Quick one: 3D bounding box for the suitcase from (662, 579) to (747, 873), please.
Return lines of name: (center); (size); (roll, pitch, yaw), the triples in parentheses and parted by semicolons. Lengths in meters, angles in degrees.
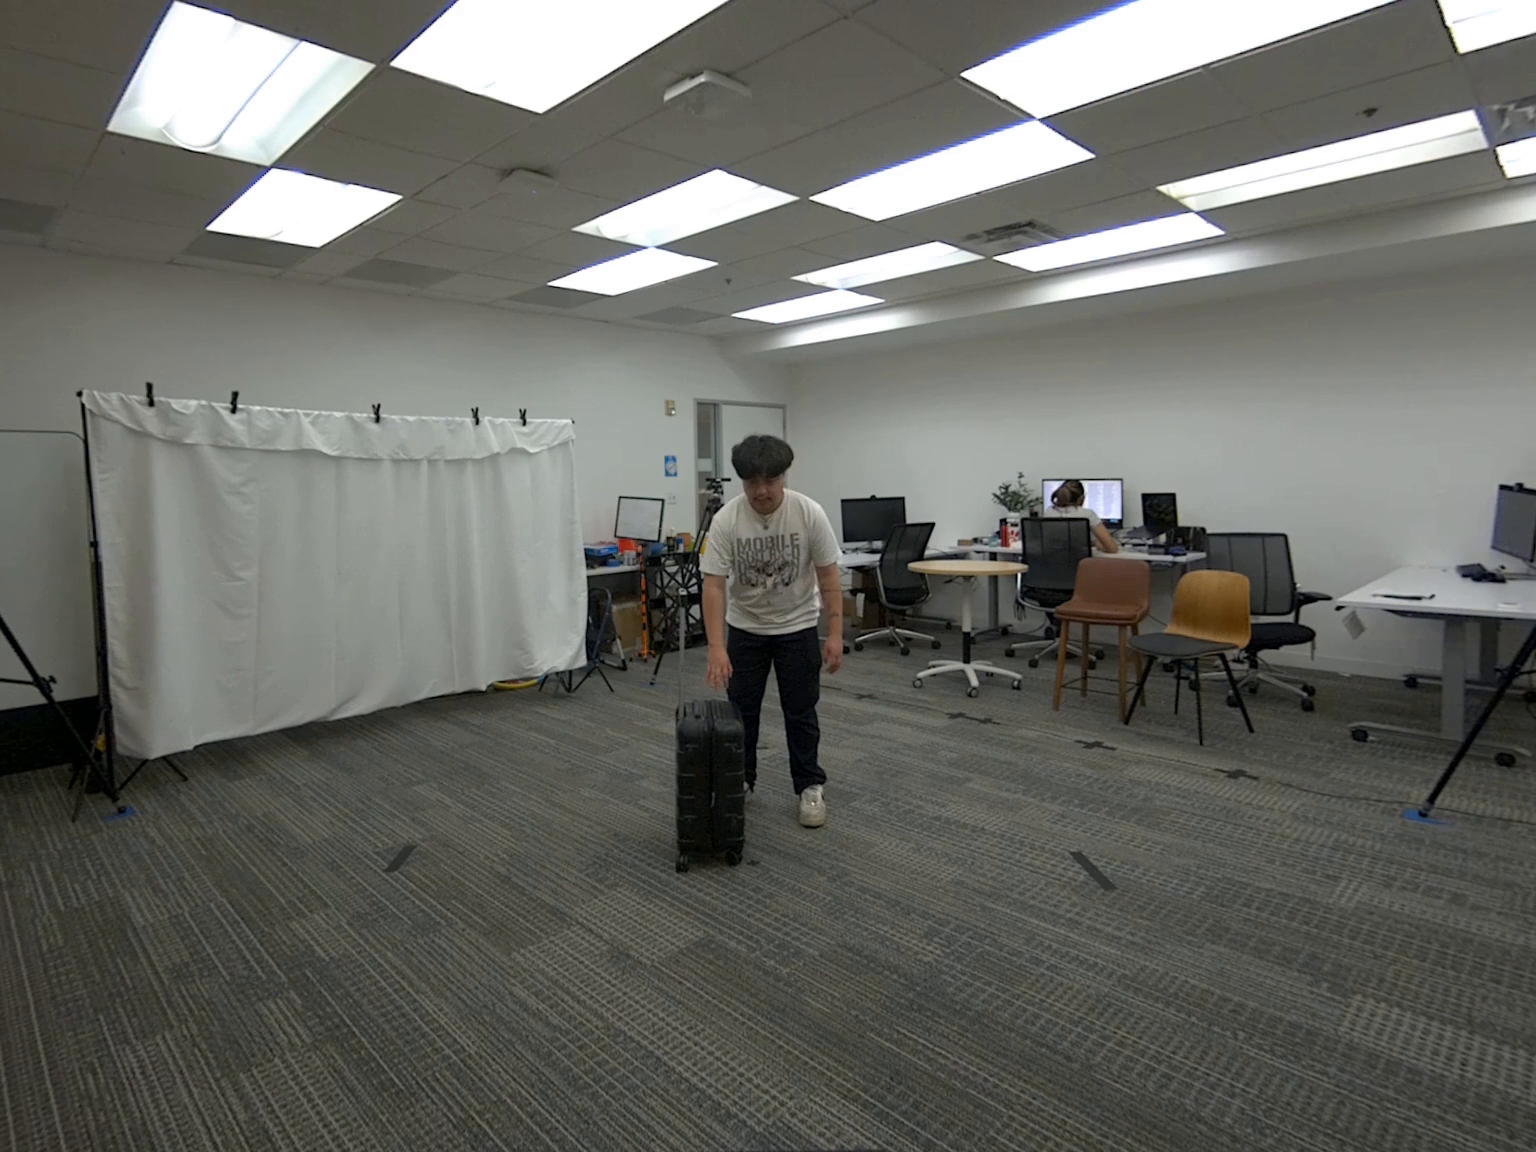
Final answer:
suitcase: (-0.223, 0.559, 3.199); (0.256, 0.975, 0.387); (2, 4, -5)
